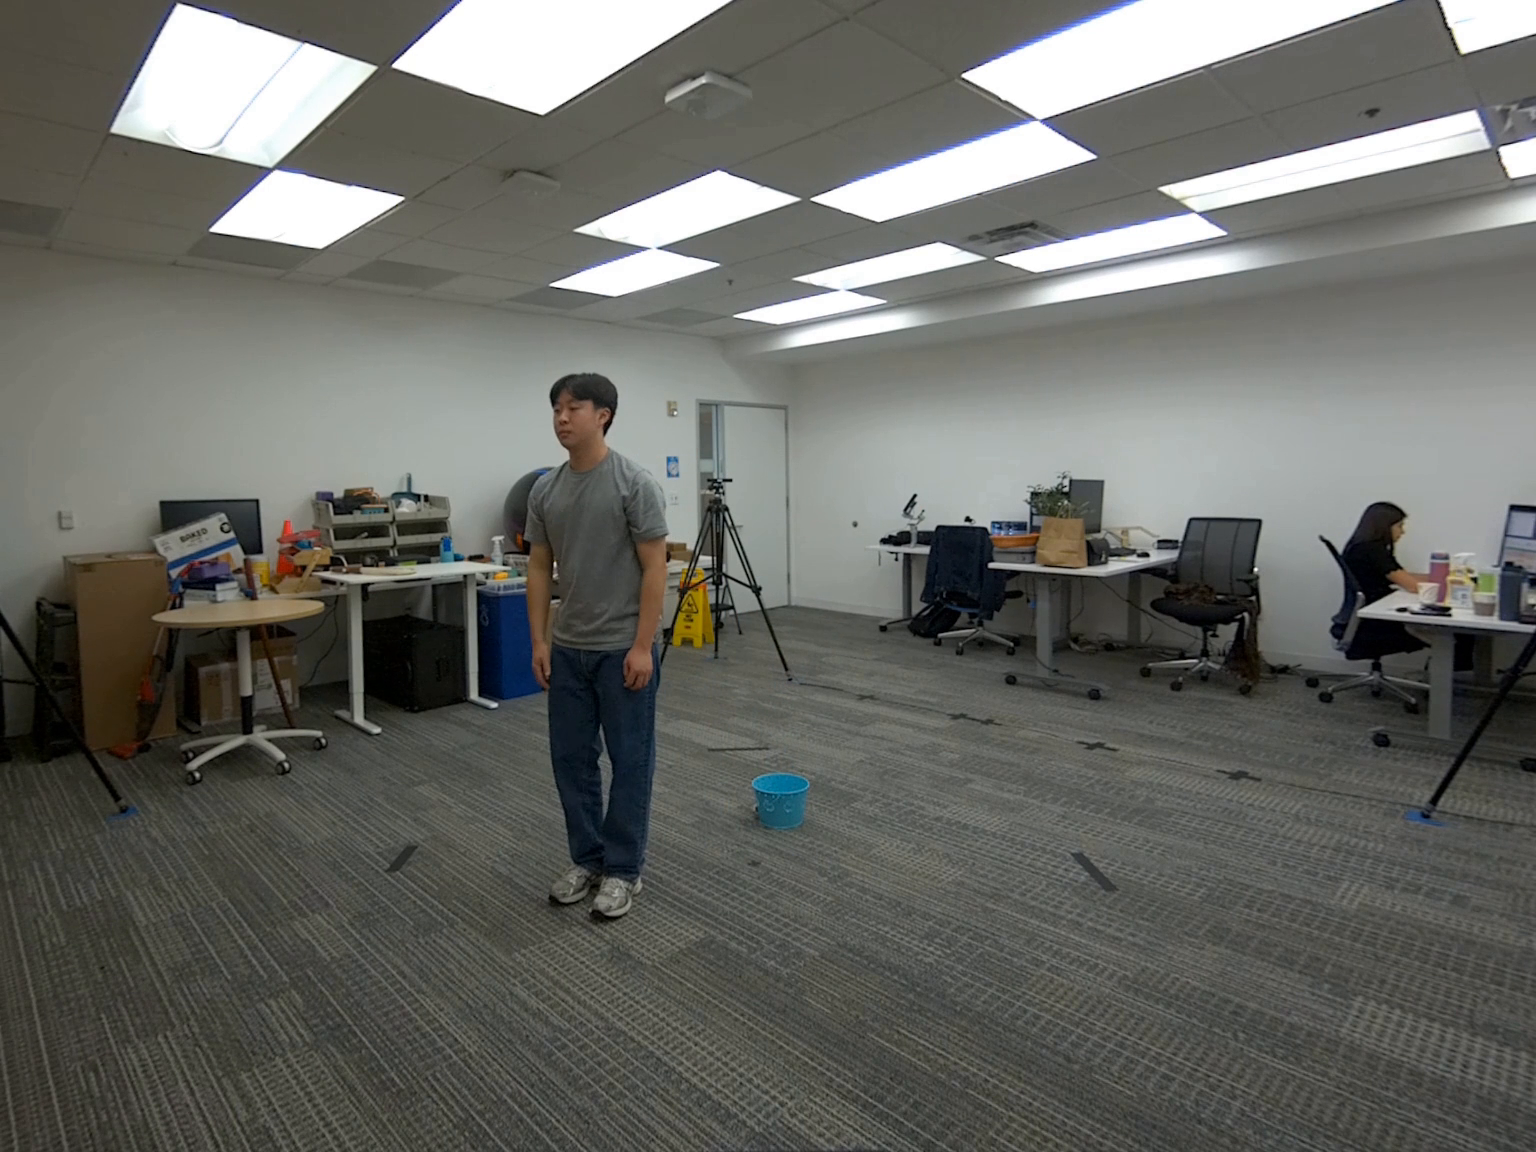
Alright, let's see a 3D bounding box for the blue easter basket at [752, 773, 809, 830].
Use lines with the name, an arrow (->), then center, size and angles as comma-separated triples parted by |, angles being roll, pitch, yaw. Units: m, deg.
blue easter basket -> 0.053, 0.920, 3.503 | 0.243, 0.155, 0.245 | -1, 6, -2
